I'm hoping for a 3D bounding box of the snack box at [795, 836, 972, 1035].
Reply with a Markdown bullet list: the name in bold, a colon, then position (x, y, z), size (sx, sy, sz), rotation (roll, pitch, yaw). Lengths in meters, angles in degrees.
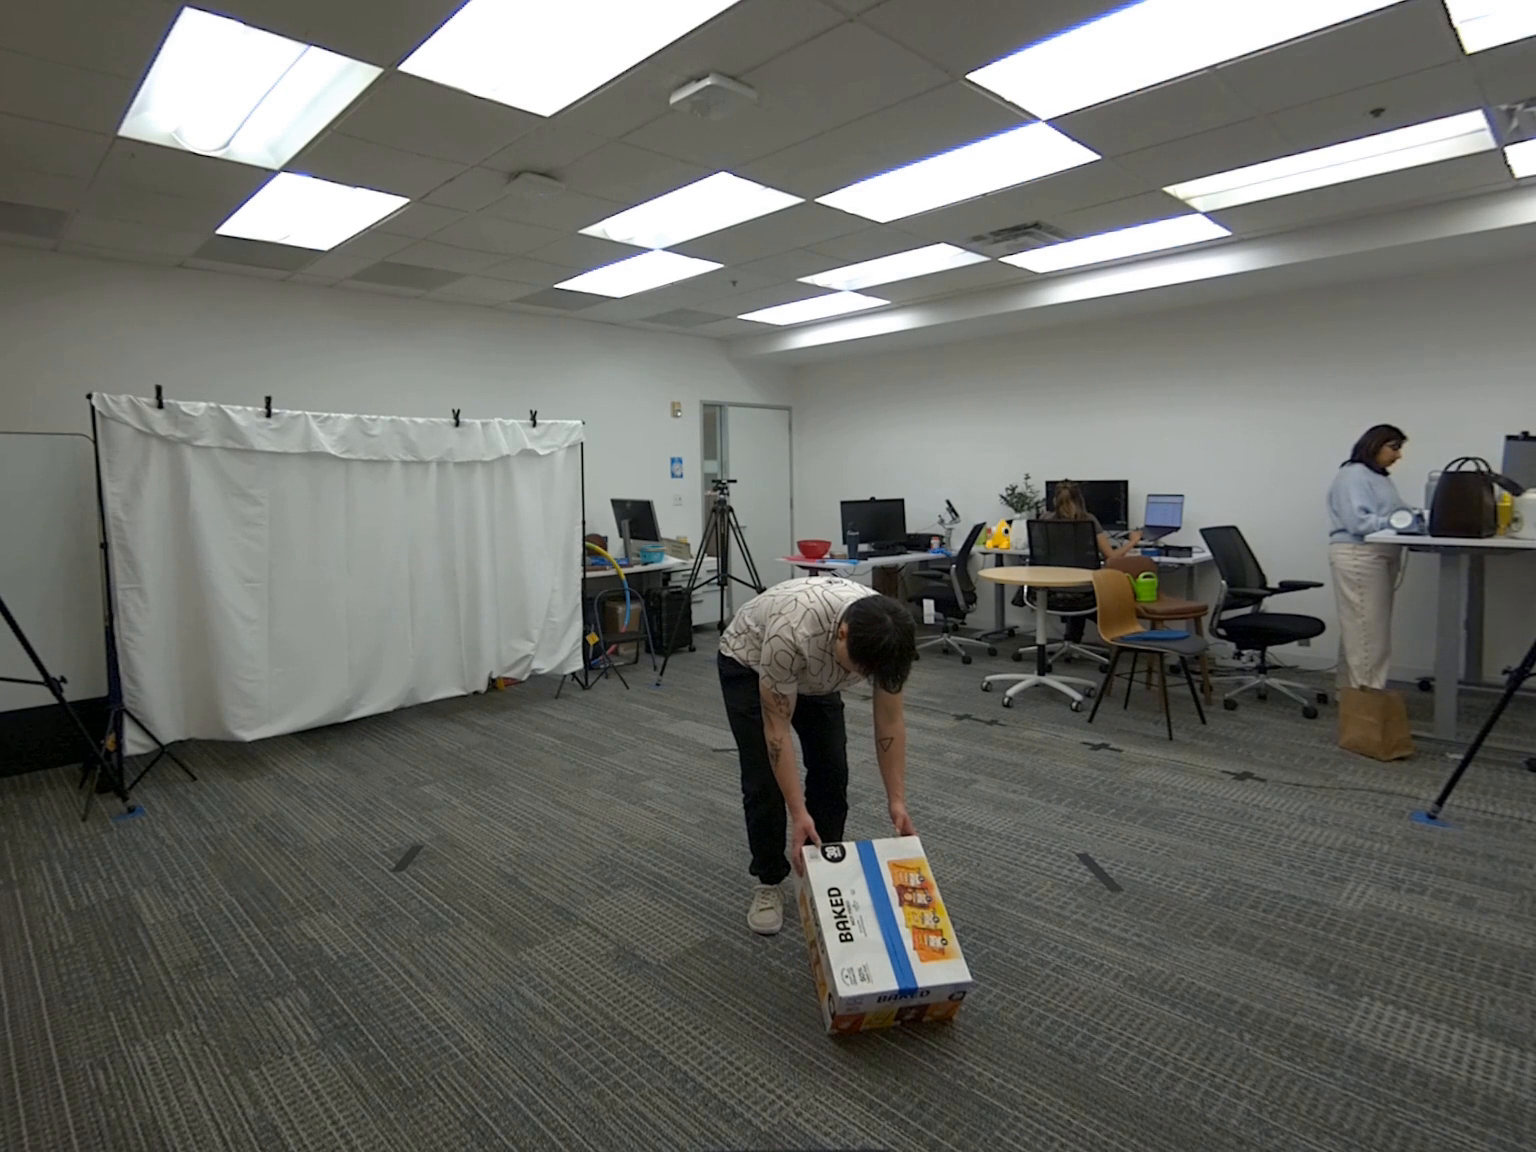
- **snack box**: position (0.292, 0.946, 2.266), size (0.337, 0.201, 0.419), rotation (-2, 40, -11)
